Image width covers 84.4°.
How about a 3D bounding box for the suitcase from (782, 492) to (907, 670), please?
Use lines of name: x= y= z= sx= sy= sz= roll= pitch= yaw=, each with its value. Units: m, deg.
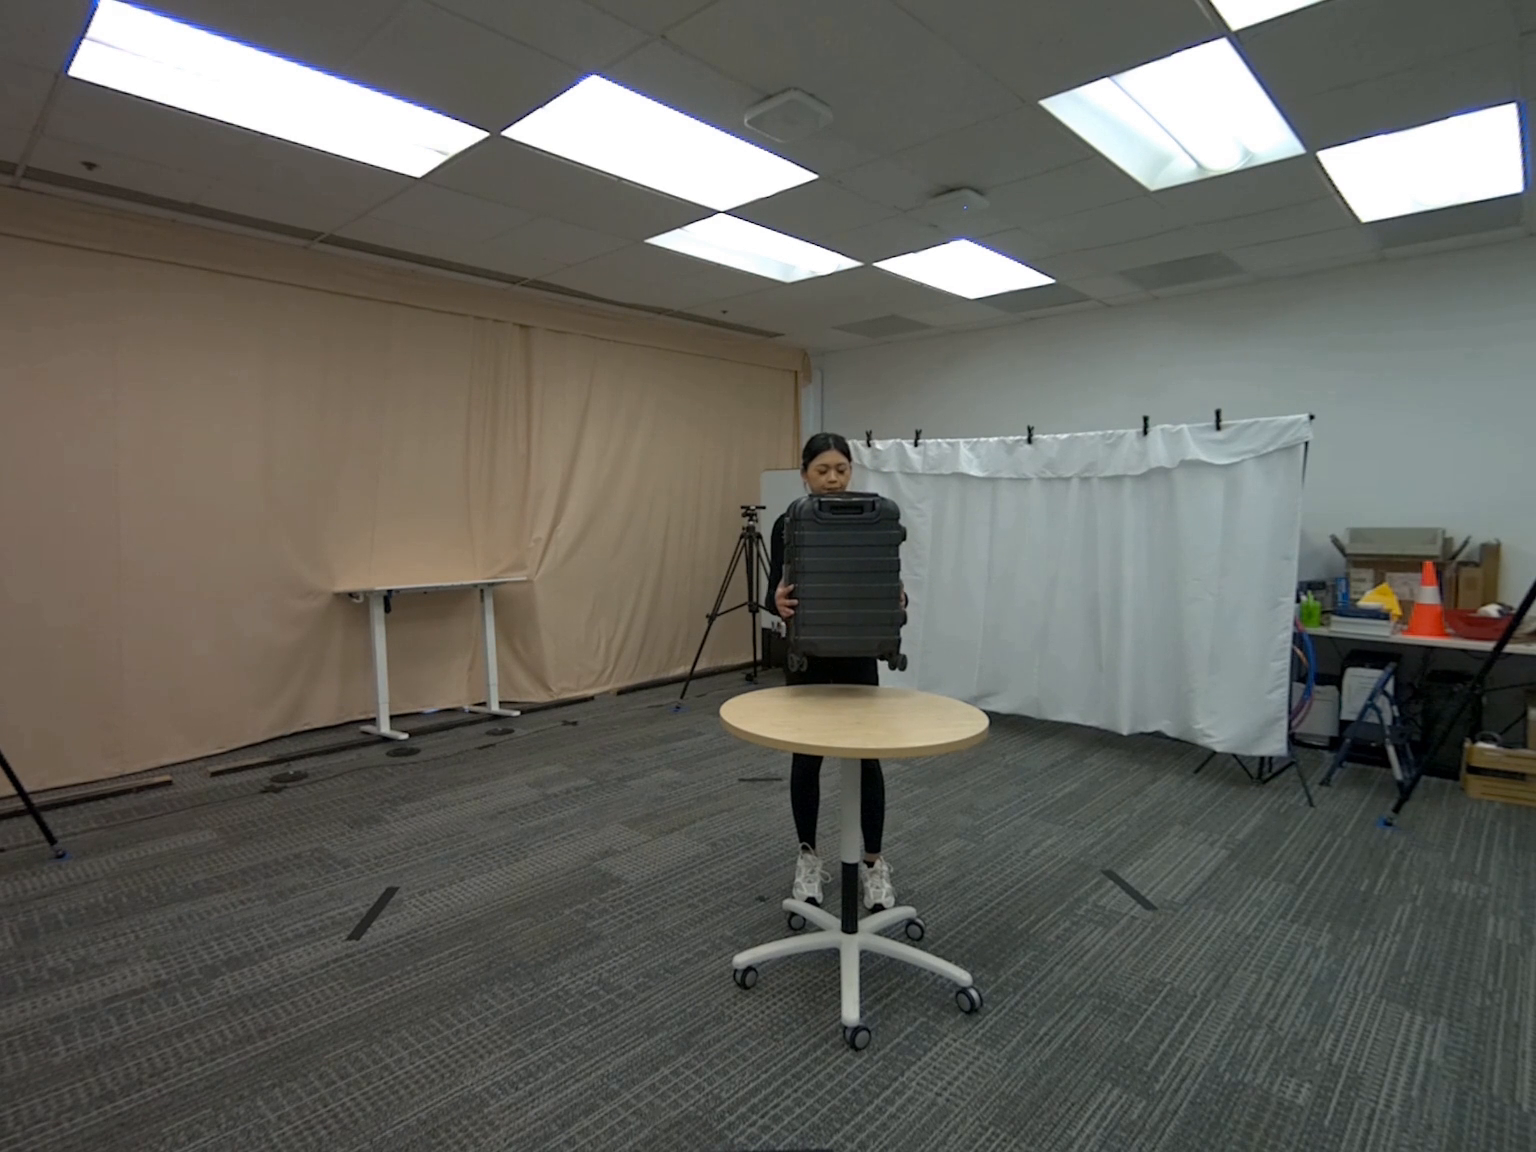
suitcase: x=0.238 y=0.010 z=2.685 sx=0.376 sy=0.549 sz=0.248 roll=0 pitch=1 yaw=1
